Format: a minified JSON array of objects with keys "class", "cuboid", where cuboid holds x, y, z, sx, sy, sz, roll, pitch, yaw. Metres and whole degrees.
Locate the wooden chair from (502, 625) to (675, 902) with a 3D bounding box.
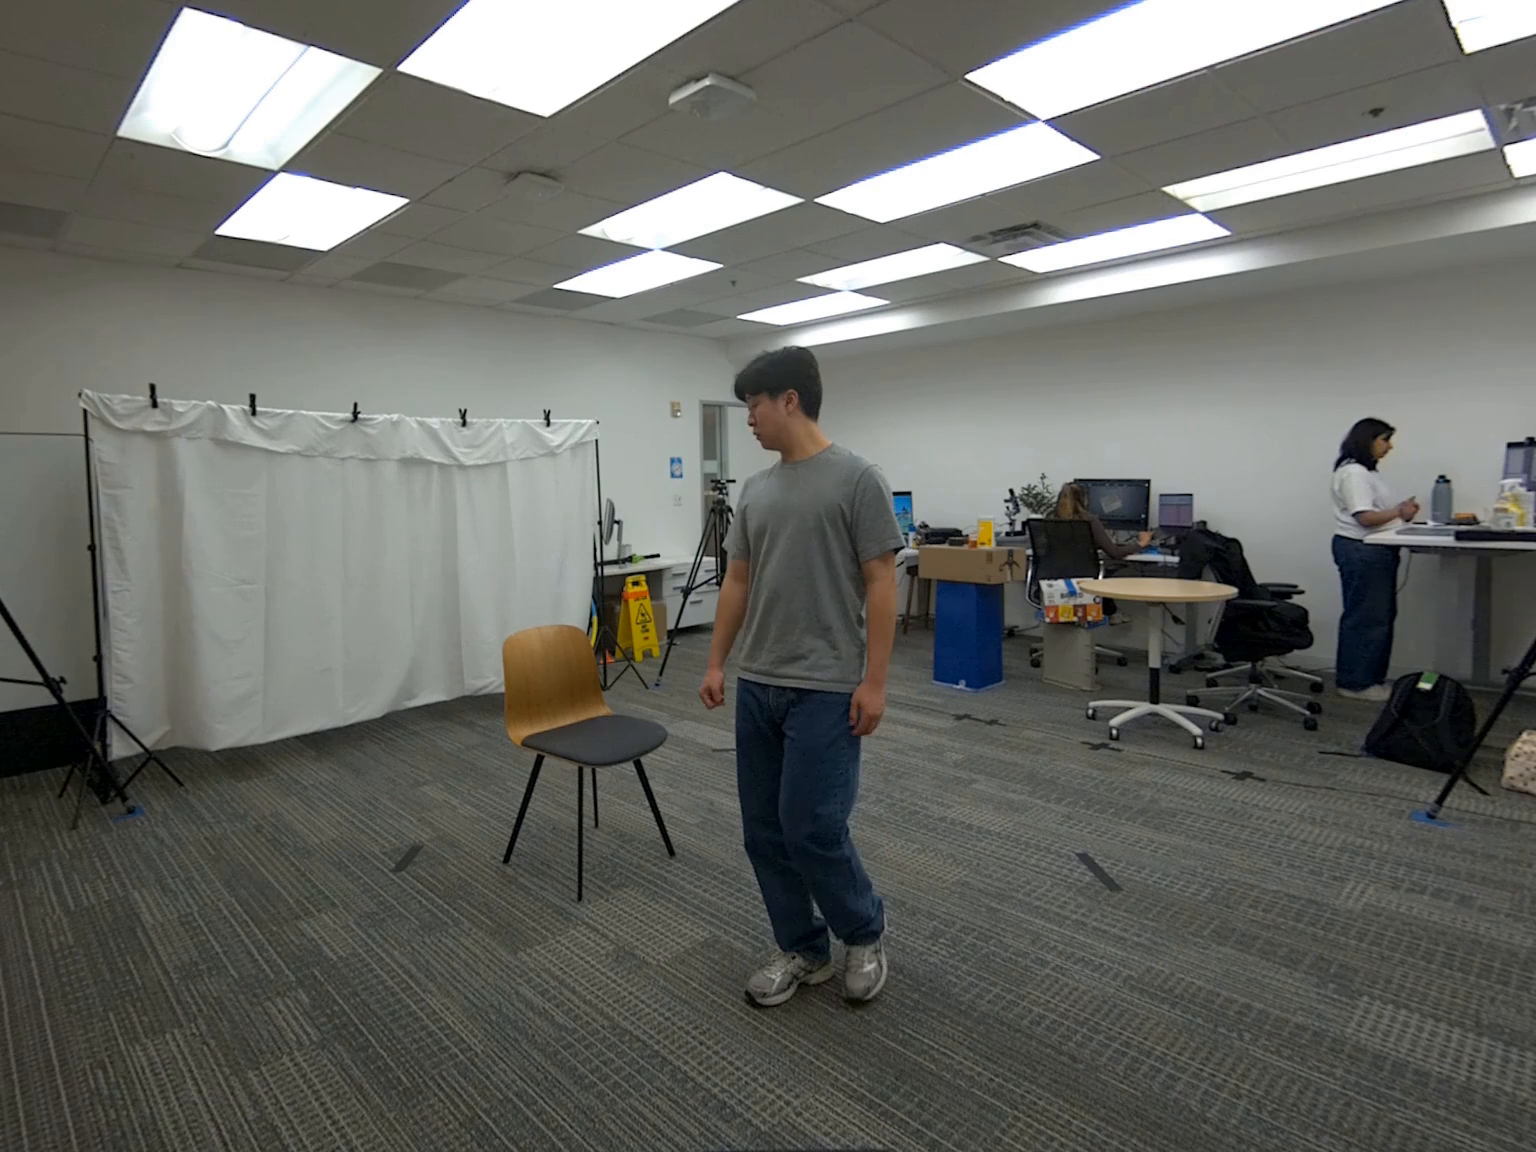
[{"class":"wooden chair","cuboid":[-0.664,0.629,3.130,0.537,0.877,0.466,-4,1,41]}]
